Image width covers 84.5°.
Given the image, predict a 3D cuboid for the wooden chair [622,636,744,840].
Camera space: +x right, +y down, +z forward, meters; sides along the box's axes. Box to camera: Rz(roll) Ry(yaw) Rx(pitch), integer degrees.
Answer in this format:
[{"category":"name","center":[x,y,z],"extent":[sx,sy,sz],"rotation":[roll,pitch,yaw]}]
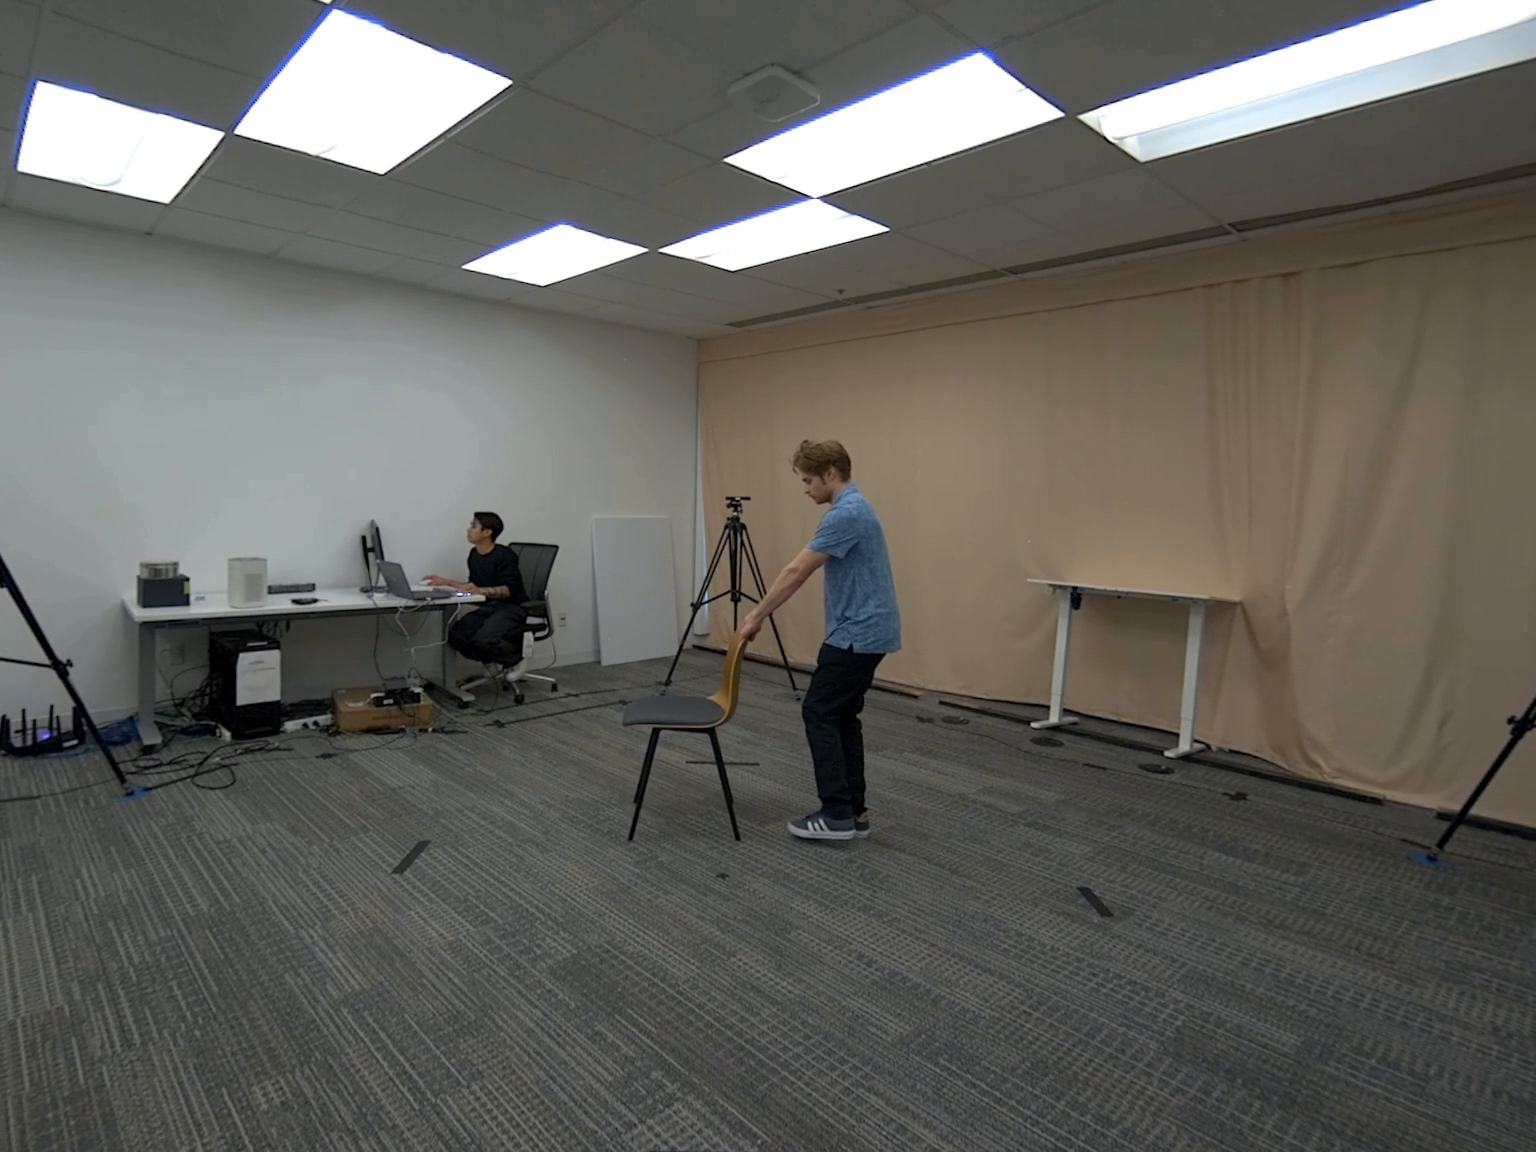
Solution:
[{"category":"wooden chair","center":[-0.359,0.627,3.591],"extent":[0.520,0.875,0.481],"rotation":[5,3,-6]}]
